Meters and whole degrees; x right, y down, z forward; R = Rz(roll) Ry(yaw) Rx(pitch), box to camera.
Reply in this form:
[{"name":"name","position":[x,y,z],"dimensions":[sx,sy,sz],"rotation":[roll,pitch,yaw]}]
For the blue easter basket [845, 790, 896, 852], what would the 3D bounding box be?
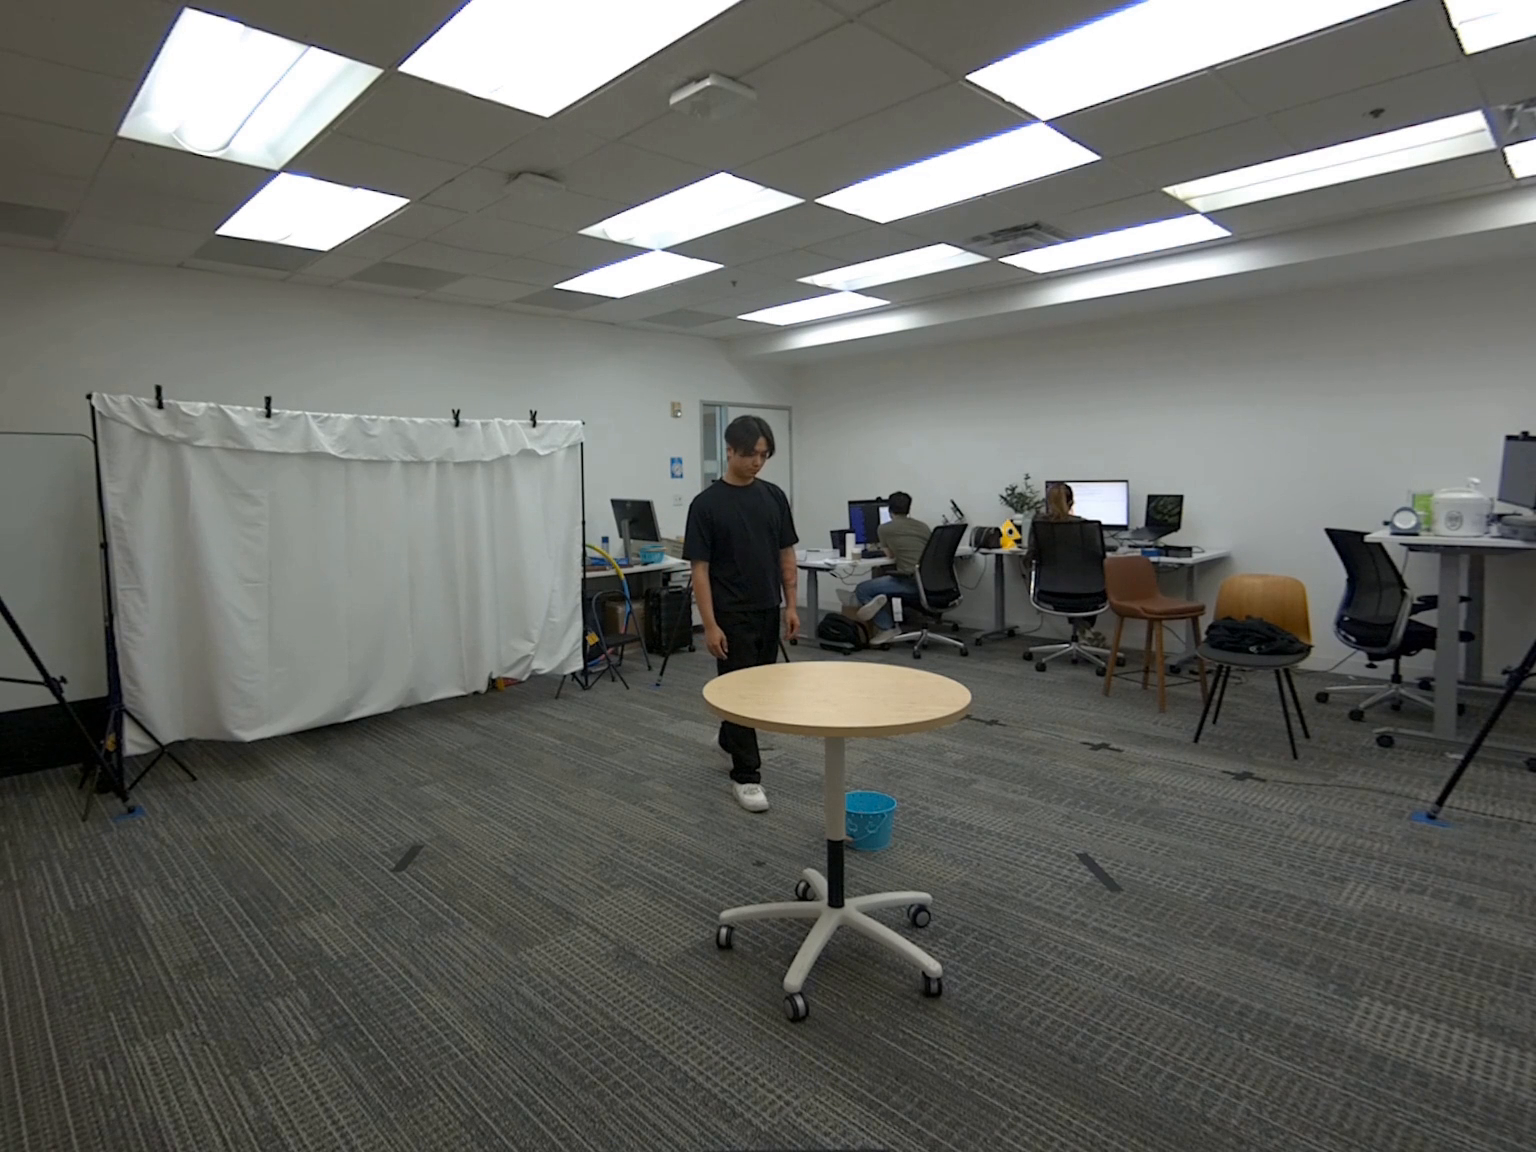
[{"name":"blue easter basket","position":[0.376,0.942,3.291],"dimensions":[0.243,0.155,0.245],"rotation":[-1,5,-2]}]
